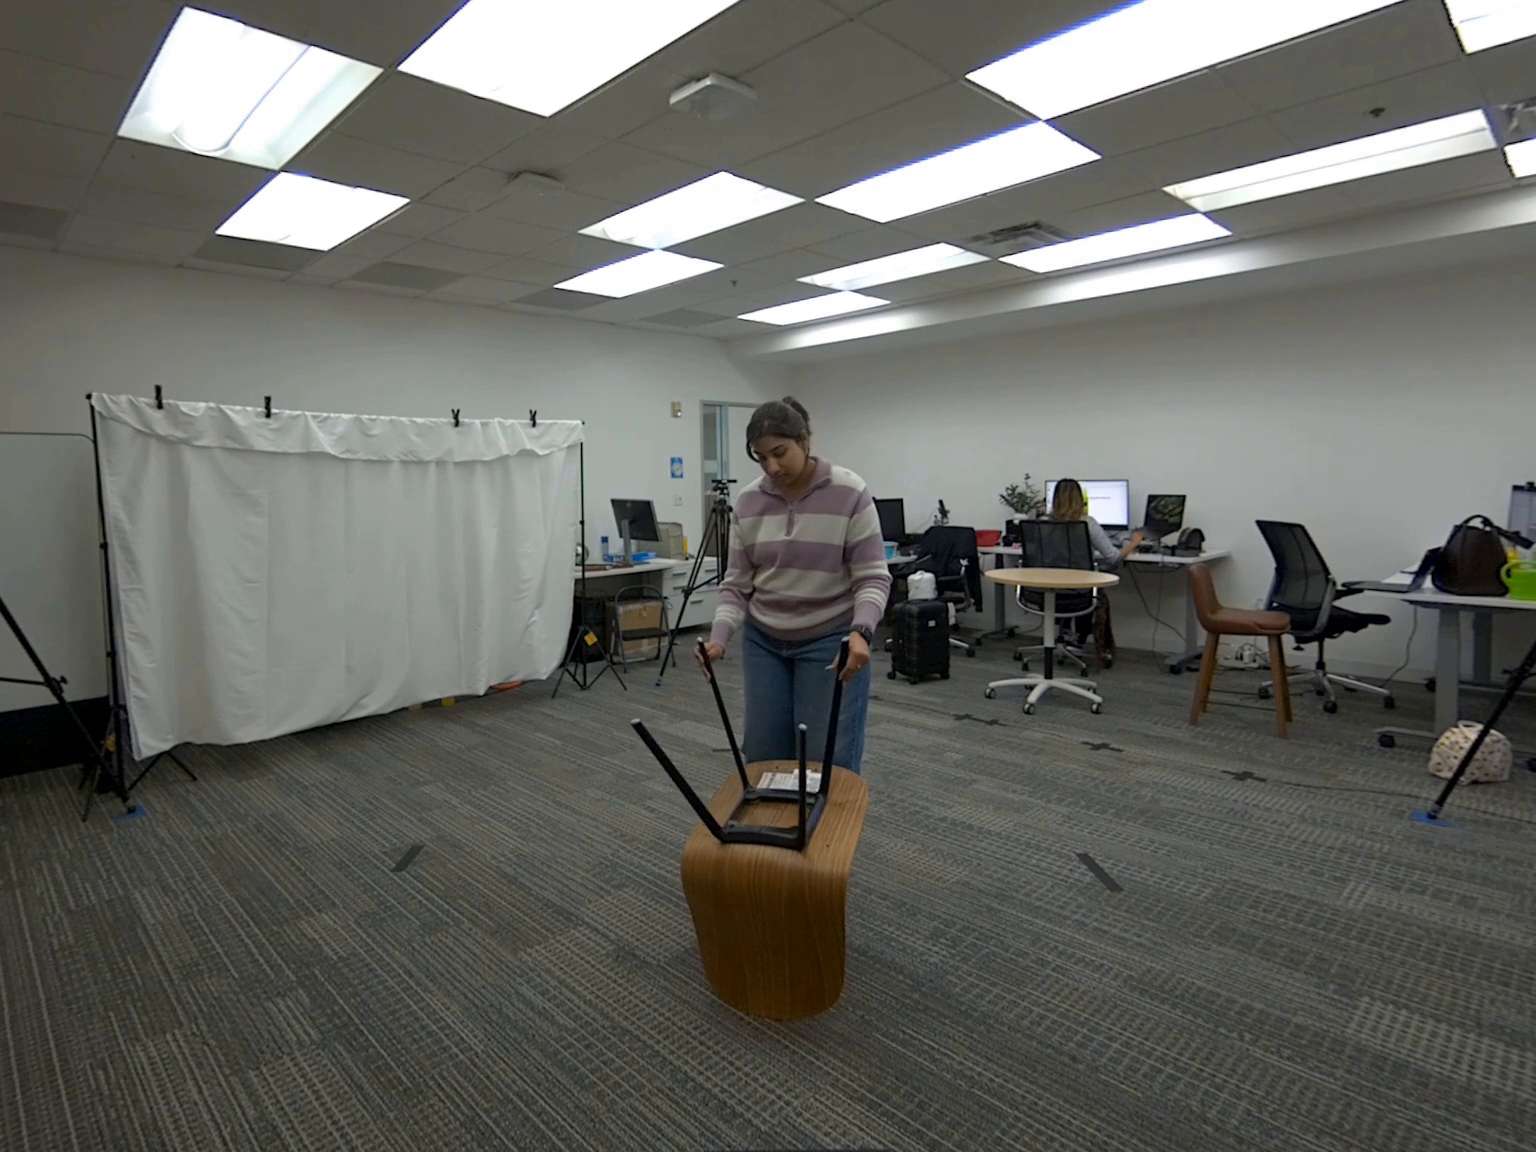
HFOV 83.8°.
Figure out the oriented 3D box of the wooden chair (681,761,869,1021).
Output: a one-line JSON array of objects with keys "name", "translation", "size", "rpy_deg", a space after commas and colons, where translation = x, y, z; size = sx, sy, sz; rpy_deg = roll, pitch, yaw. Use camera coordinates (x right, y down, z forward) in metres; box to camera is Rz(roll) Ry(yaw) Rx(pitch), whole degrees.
[{"name": "wooden chair", "translation": [0.019, 0.656, 2.353], "size": [0.487, 0.864, 0.521], "rpy_deg": [-4, 16, 21]}]
